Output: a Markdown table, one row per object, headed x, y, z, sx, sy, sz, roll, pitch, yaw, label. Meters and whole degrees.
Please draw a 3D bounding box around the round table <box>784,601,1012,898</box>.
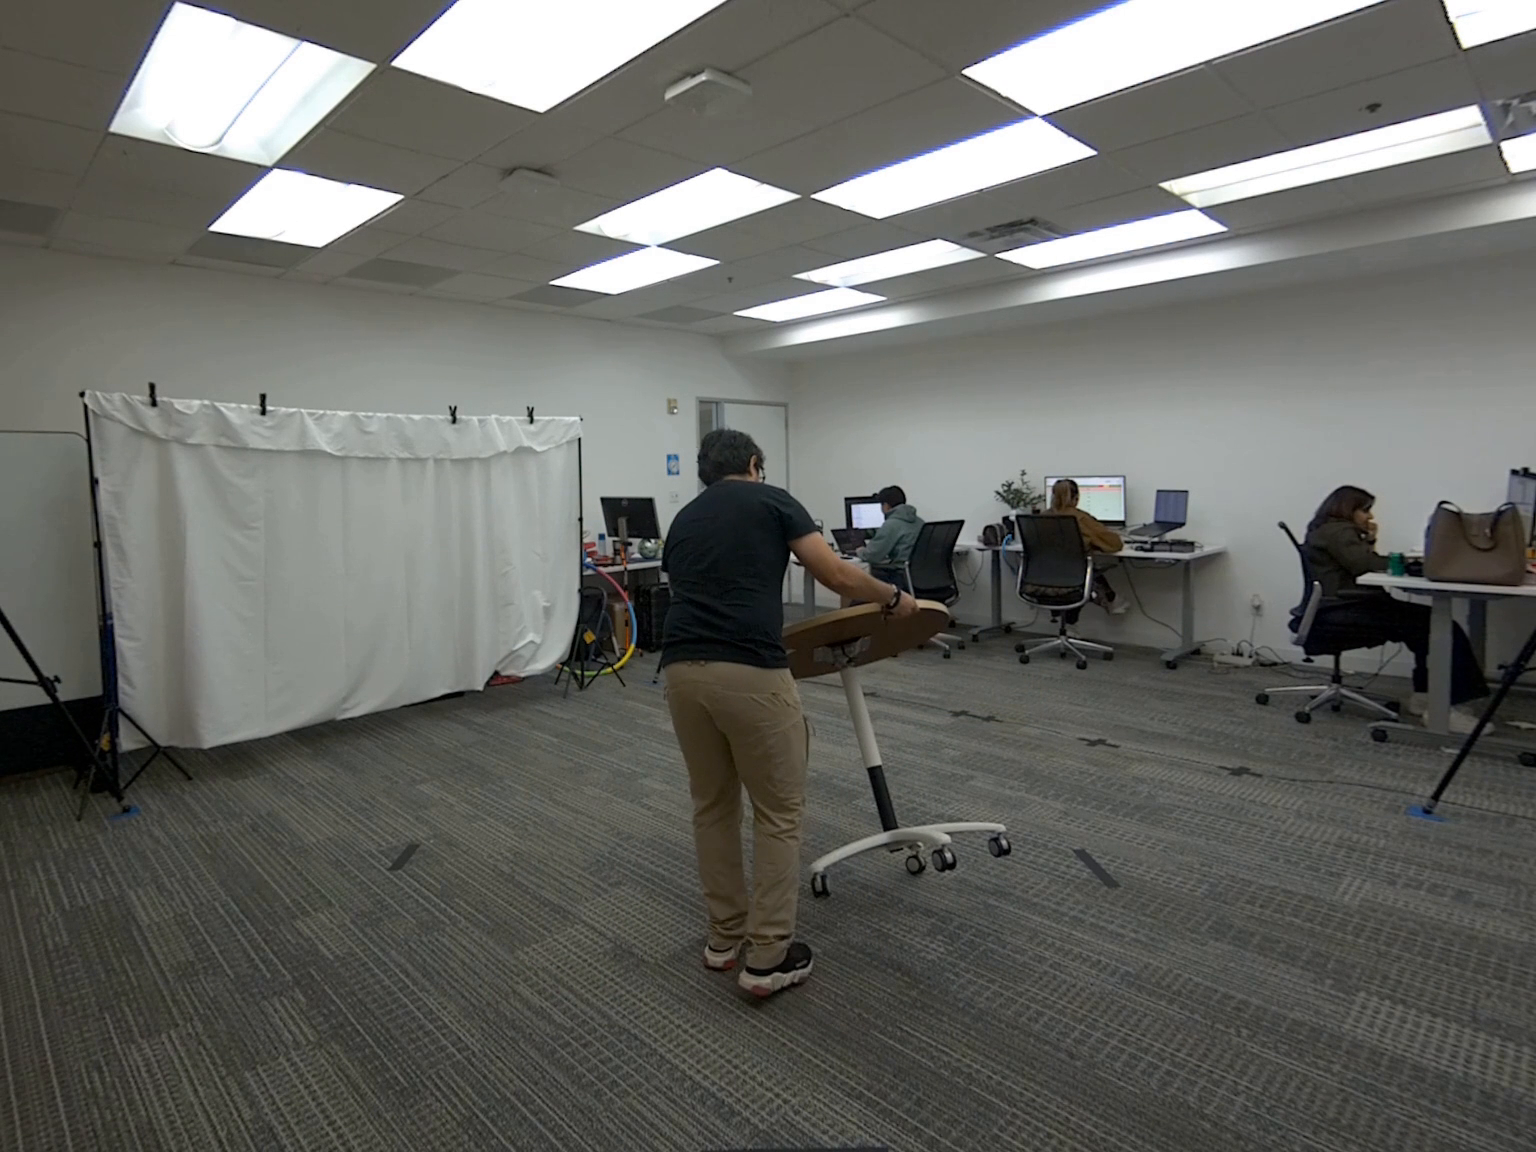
| x | y | z | sx | sy | sz | roll | pitch | yaw | label |
| --- | --- | --- | --- | --- | --- | --- | --- | --- | --- |
| 0.356 | 0.587 | 2.839 | 0.782 | 0.804 | 0.771 | -11 | -21 | -6 | round table |
